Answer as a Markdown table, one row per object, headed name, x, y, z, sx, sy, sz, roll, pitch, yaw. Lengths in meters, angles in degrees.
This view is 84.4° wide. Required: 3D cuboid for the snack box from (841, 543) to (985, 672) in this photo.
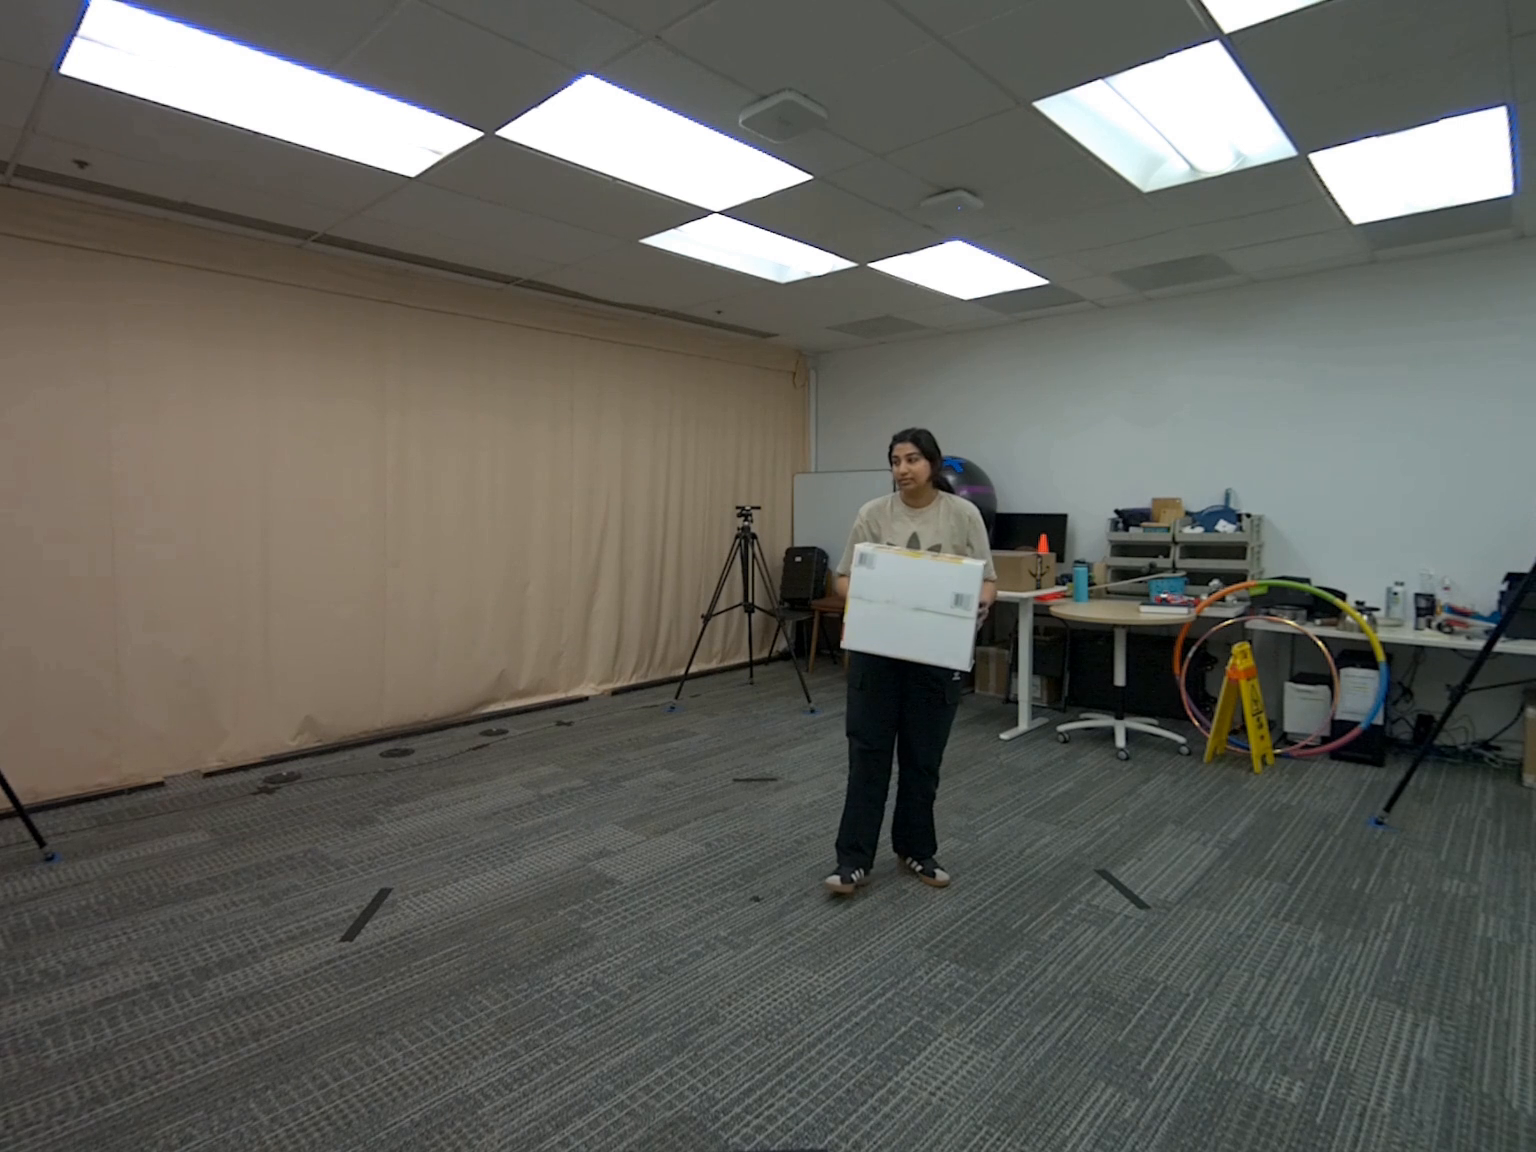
| name | x | y | z | sx | sy | sz | roll | pitch | yaw |
| --- | --- | --- | --- | --- | --- | --- | --- | --- | --- |
| snack box | 0.469 | 0.091 | 2.721 | 0.414 | 0.339 | 0.201 | 9 | 6 | 20 |
